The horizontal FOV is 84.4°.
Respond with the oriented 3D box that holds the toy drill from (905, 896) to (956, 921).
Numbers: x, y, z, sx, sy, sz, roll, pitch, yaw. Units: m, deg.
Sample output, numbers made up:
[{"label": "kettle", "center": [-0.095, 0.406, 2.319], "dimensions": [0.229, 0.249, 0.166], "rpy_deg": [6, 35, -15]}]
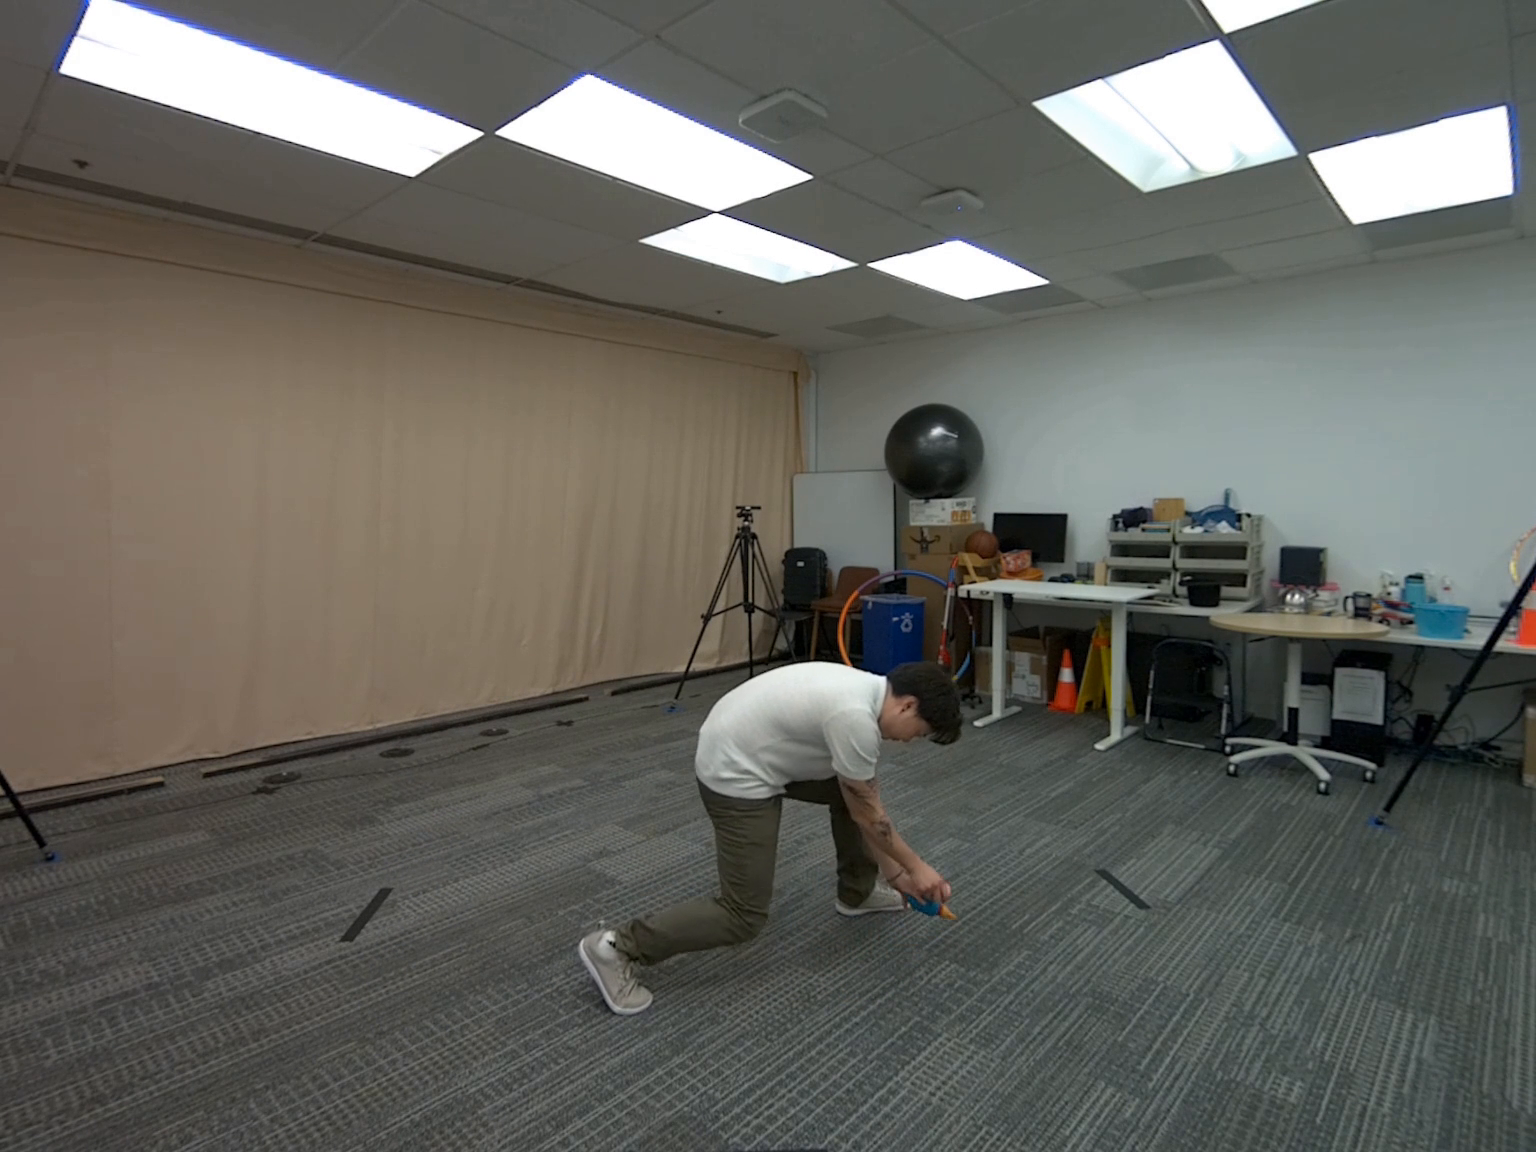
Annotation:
[{"label": "toy drill", "center": [0.534, 1.006, 2.546], "dimensions": [0.170, 0.146, 0.061], "rpy_deg": [33, 48, 0]}]
